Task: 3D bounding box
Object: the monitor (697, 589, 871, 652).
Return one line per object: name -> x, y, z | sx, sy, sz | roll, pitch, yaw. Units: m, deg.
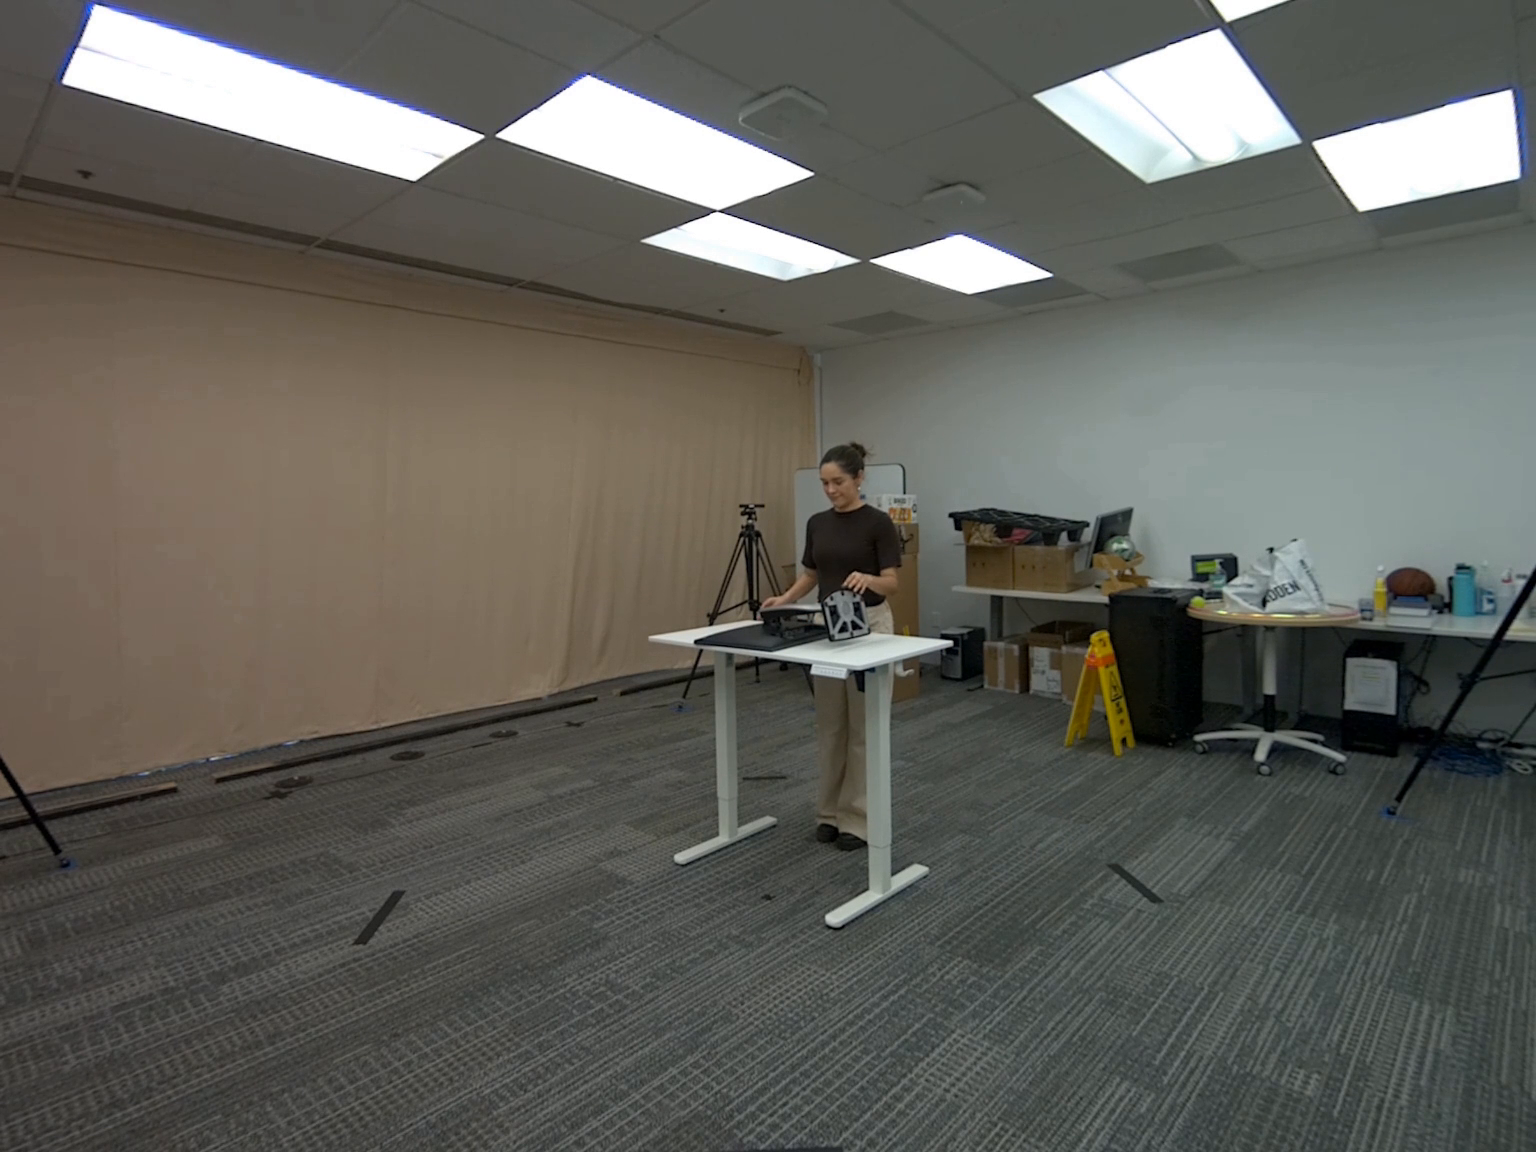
monitor -> 0.086, 0.185, 3.161 | 0.536, 0.188, 0.522 | -13, -6, 38
